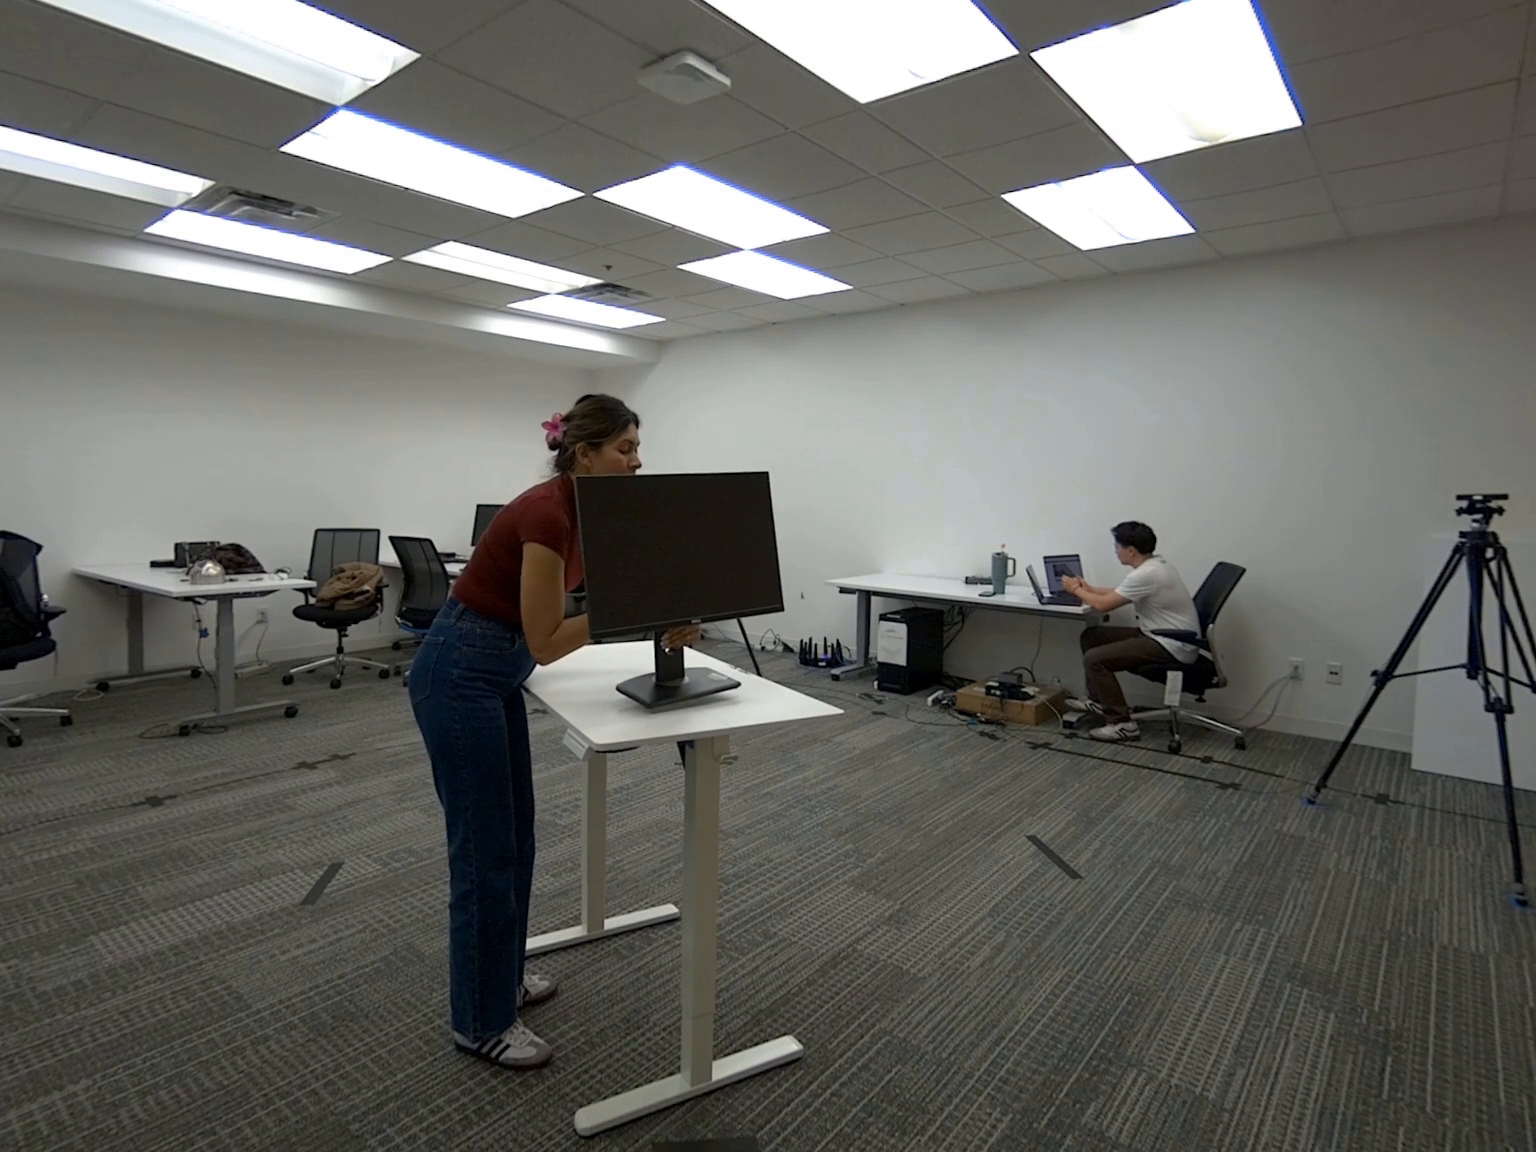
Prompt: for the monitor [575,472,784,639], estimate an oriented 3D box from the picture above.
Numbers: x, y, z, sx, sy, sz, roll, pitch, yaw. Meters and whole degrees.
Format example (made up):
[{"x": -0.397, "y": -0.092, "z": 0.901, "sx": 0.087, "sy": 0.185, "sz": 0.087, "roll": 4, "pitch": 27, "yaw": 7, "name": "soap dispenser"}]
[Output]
[{"x": -0.226, "y": 0.020, "z": 1.998, "sx": 0.524, "sy": 0.519, "sz": 0.194, "roll": -5, "pitch": 10, "yaw": -37, "name": "monitor"}]
